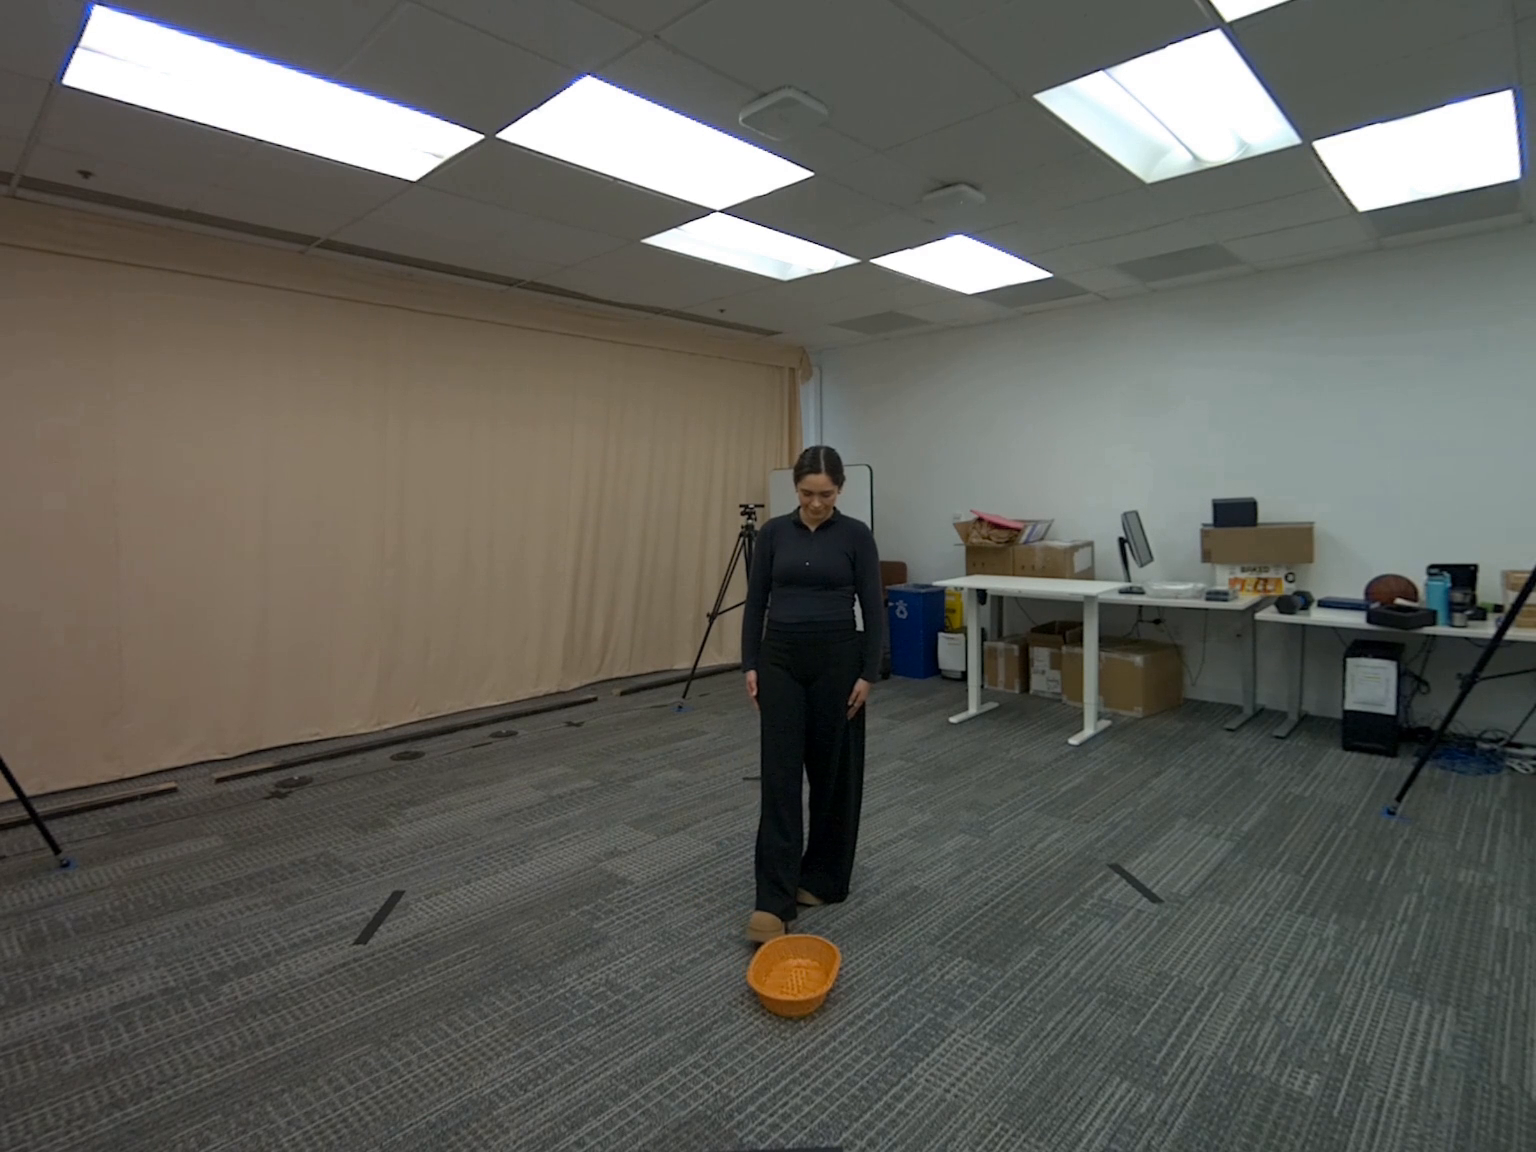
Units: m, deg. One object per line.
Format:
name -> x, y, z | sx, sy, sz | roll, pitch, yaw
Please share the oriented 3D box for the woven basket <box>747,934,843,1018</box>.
woven basket -> 0.071, 1.141, 2.421 | 0.258, 0.073, 0.343 | 0, 5, 21
